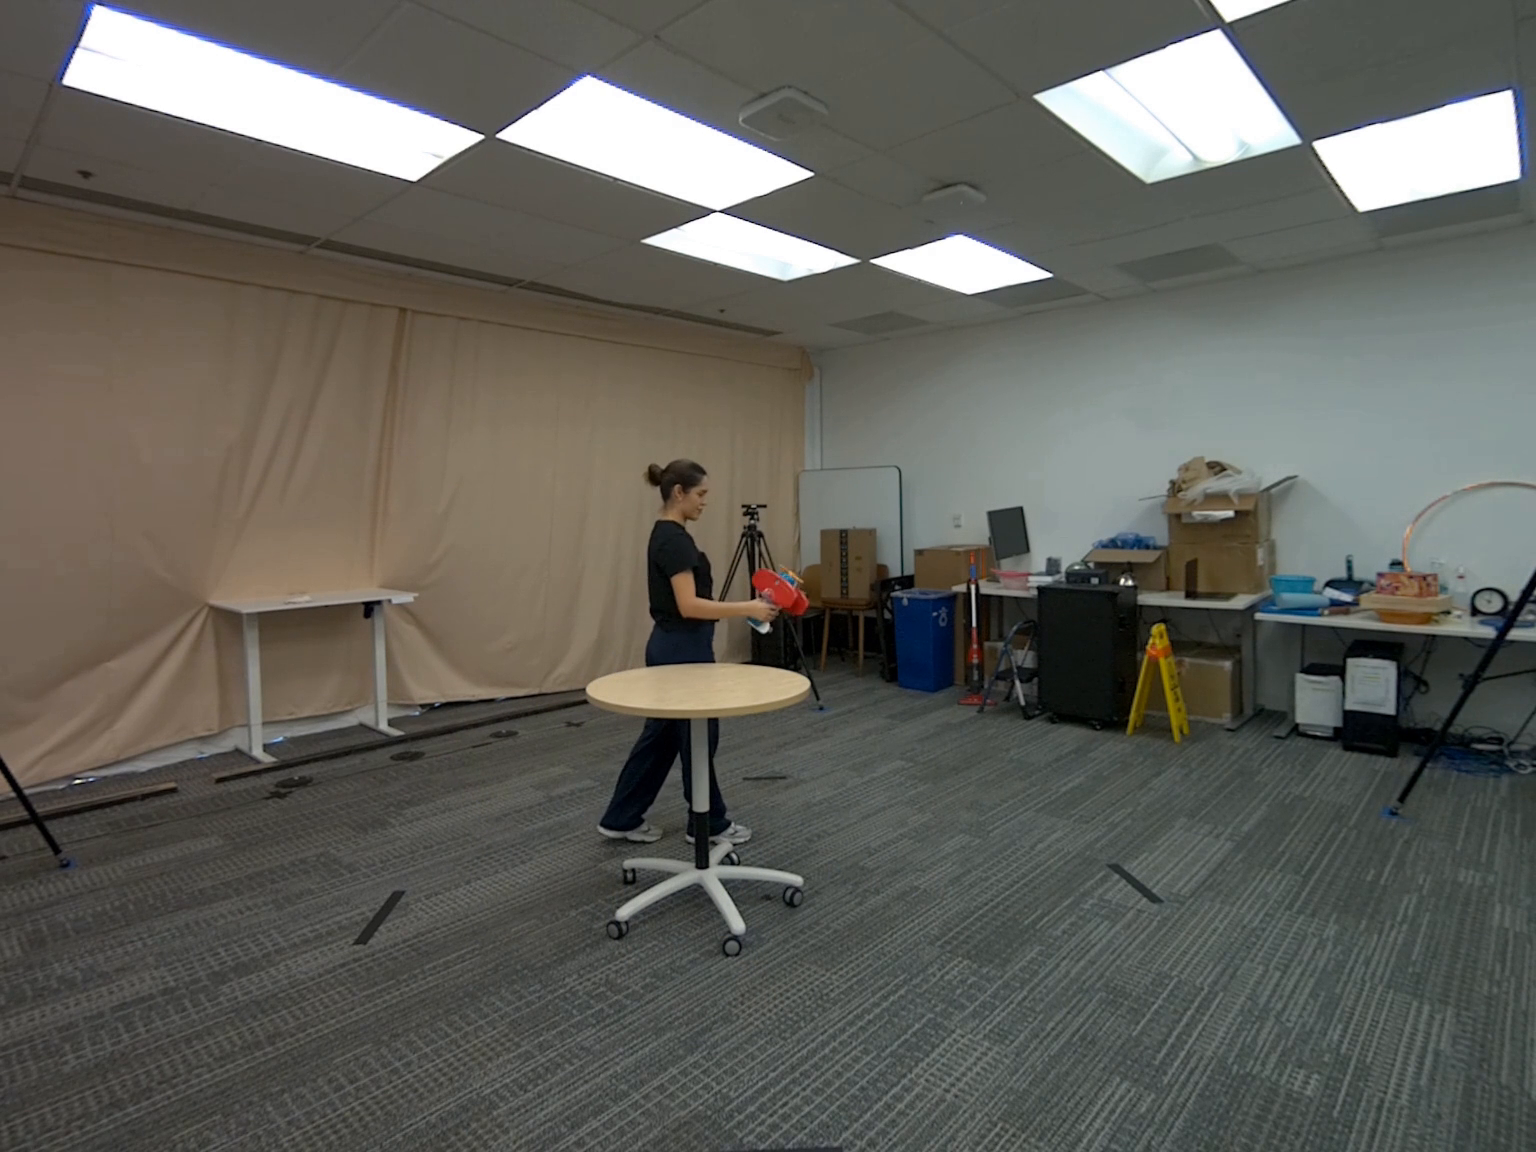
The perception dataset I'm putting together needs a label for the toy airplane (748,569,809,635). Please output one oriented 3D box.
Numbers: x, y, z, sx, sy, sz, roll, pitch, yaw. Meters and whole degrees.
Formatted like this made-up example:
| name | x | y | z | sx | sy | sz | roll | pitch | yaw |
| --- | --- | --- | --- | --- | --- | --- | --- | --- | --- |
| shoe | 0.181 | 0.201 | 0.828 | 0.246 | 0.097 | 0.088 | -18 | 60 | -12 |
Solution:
| name | x | y | z | sx | sy | sz | roll | pitch | yaw |
| --- | --- | --- | --- | --- | --- | --- | --- | --- | --- |
| toy airplane | 0.057 | 0.102 | 3.297 | 0.259 | 0.260 | 0.151 | 2 | -36 | 34 |
